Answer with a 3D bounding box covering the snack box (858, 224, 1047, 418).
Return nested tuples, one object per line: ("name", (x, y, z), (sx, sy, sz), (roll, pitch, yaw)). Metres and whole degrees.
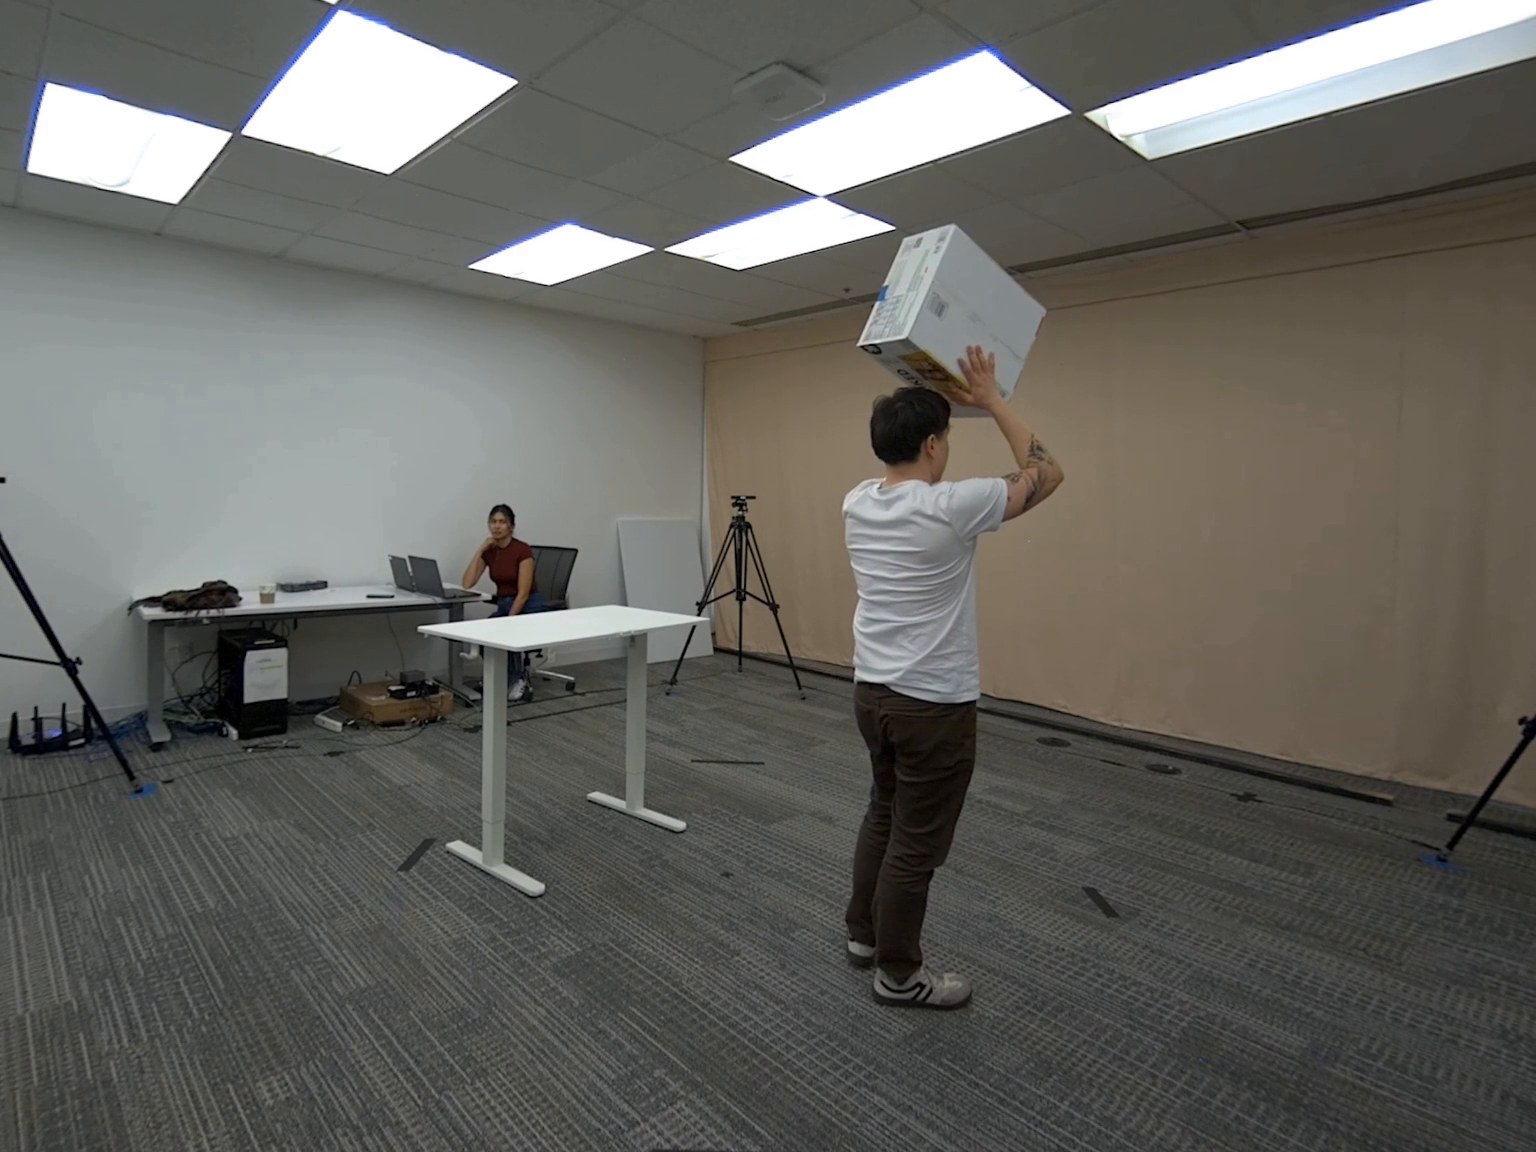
("snack box", (0.503, -0.681, 2.312), (0.394, 0.341, 0.211), (28, -8, -31))
